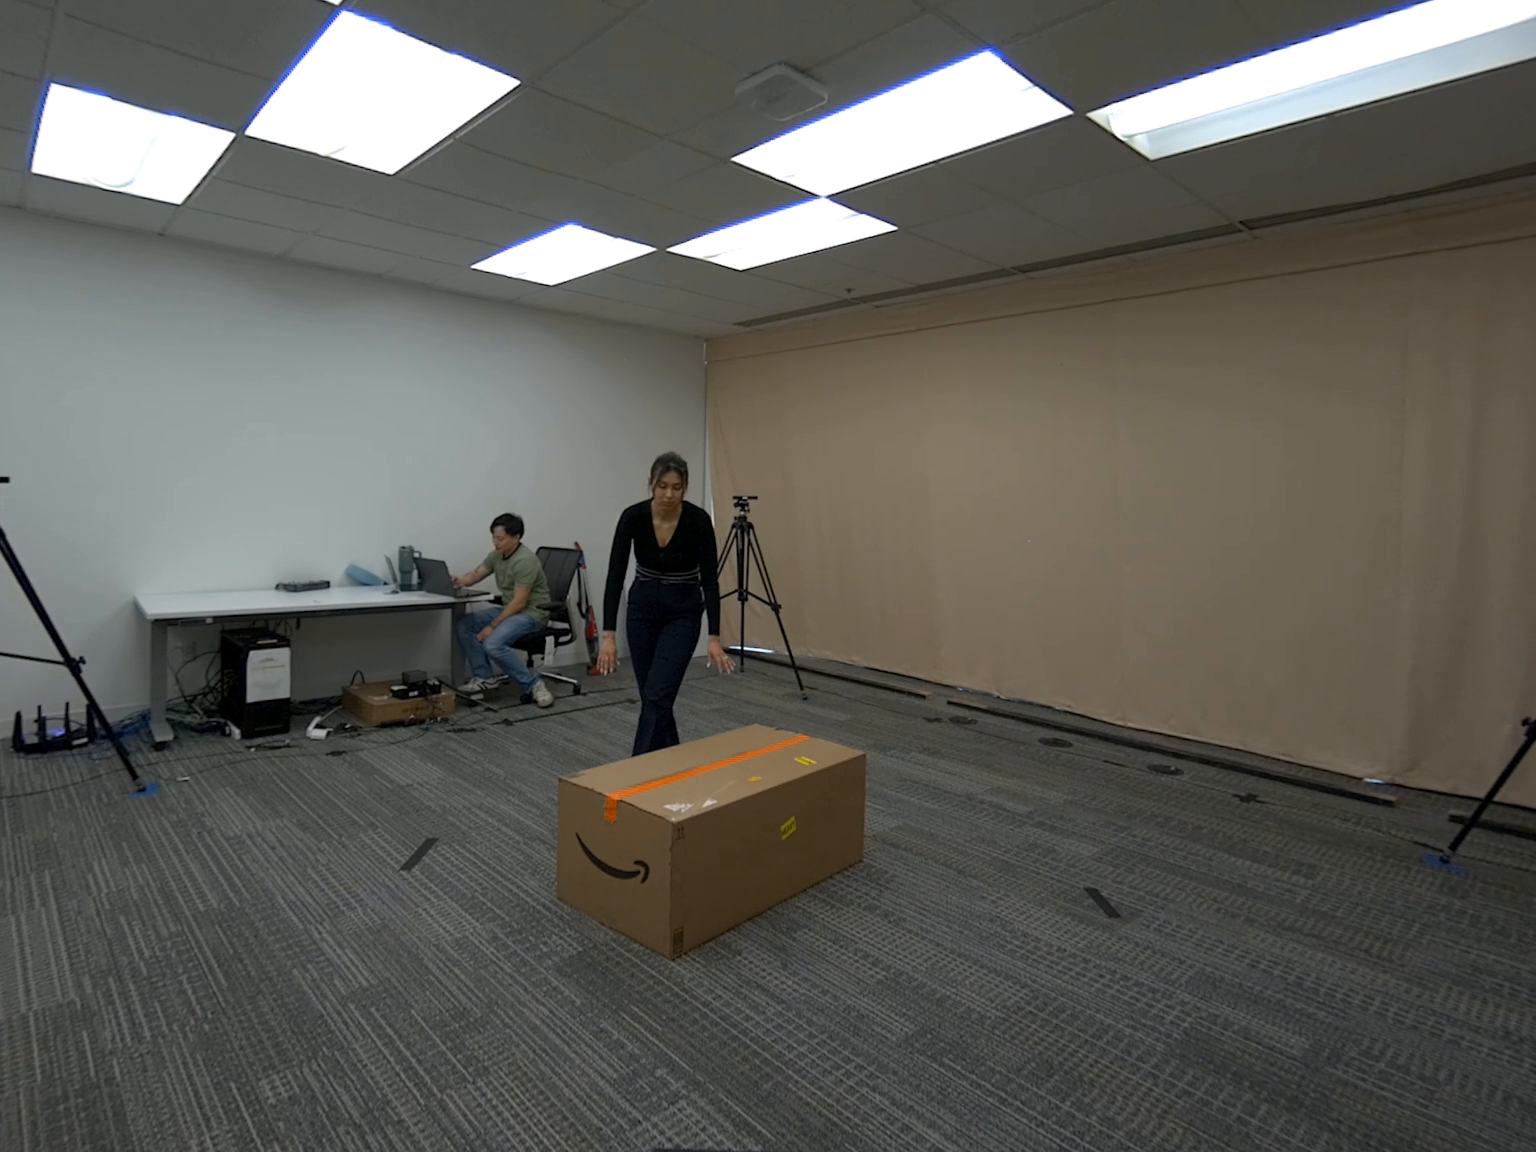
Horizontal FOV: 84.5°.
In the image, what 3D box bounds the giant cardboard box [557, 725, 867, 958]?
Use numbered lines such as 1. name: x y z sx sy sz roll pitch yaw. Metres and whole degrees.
1. giant cardboard box: -0.178 0.891 3.063 0.592 0.425 1.003 4 5 41
